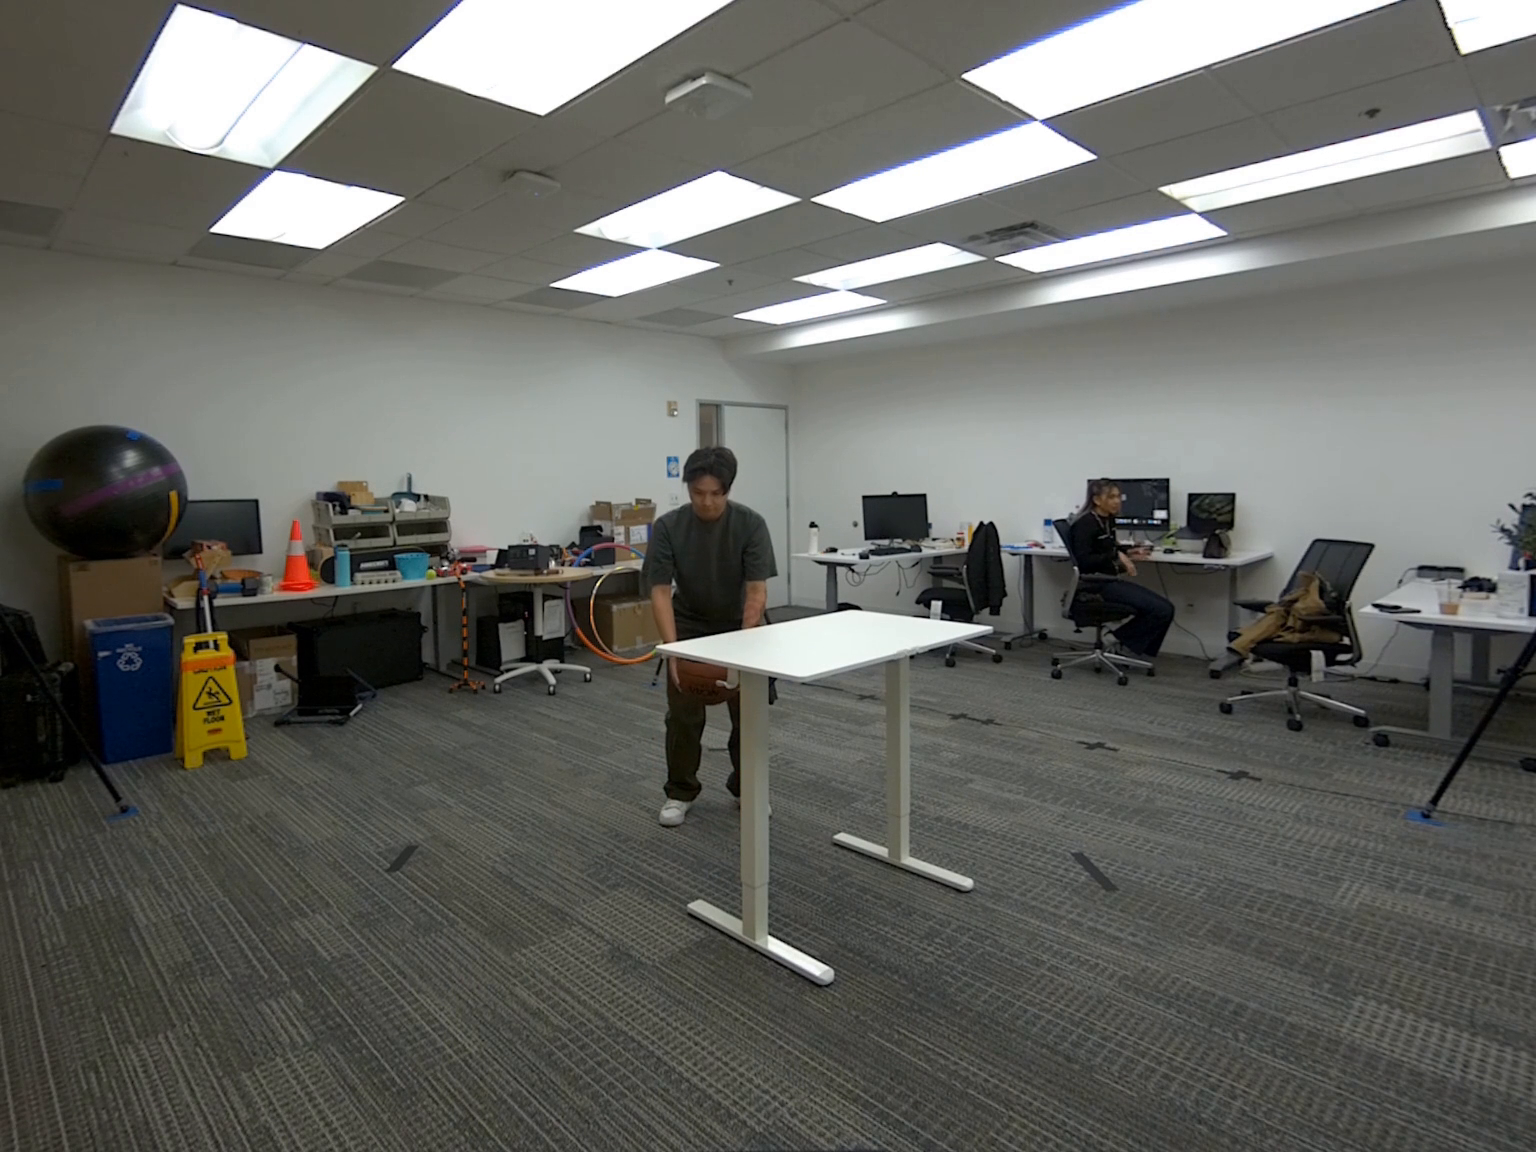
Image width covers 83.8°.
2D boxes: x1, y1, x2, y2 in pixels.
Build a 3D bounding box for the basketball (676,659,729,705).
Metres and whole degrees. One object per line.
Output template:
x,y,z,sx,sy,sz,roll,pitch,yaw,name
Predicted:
-0.236,0.362,3.230,0.236,0.235,0.237,-1,5,-2,basketball
